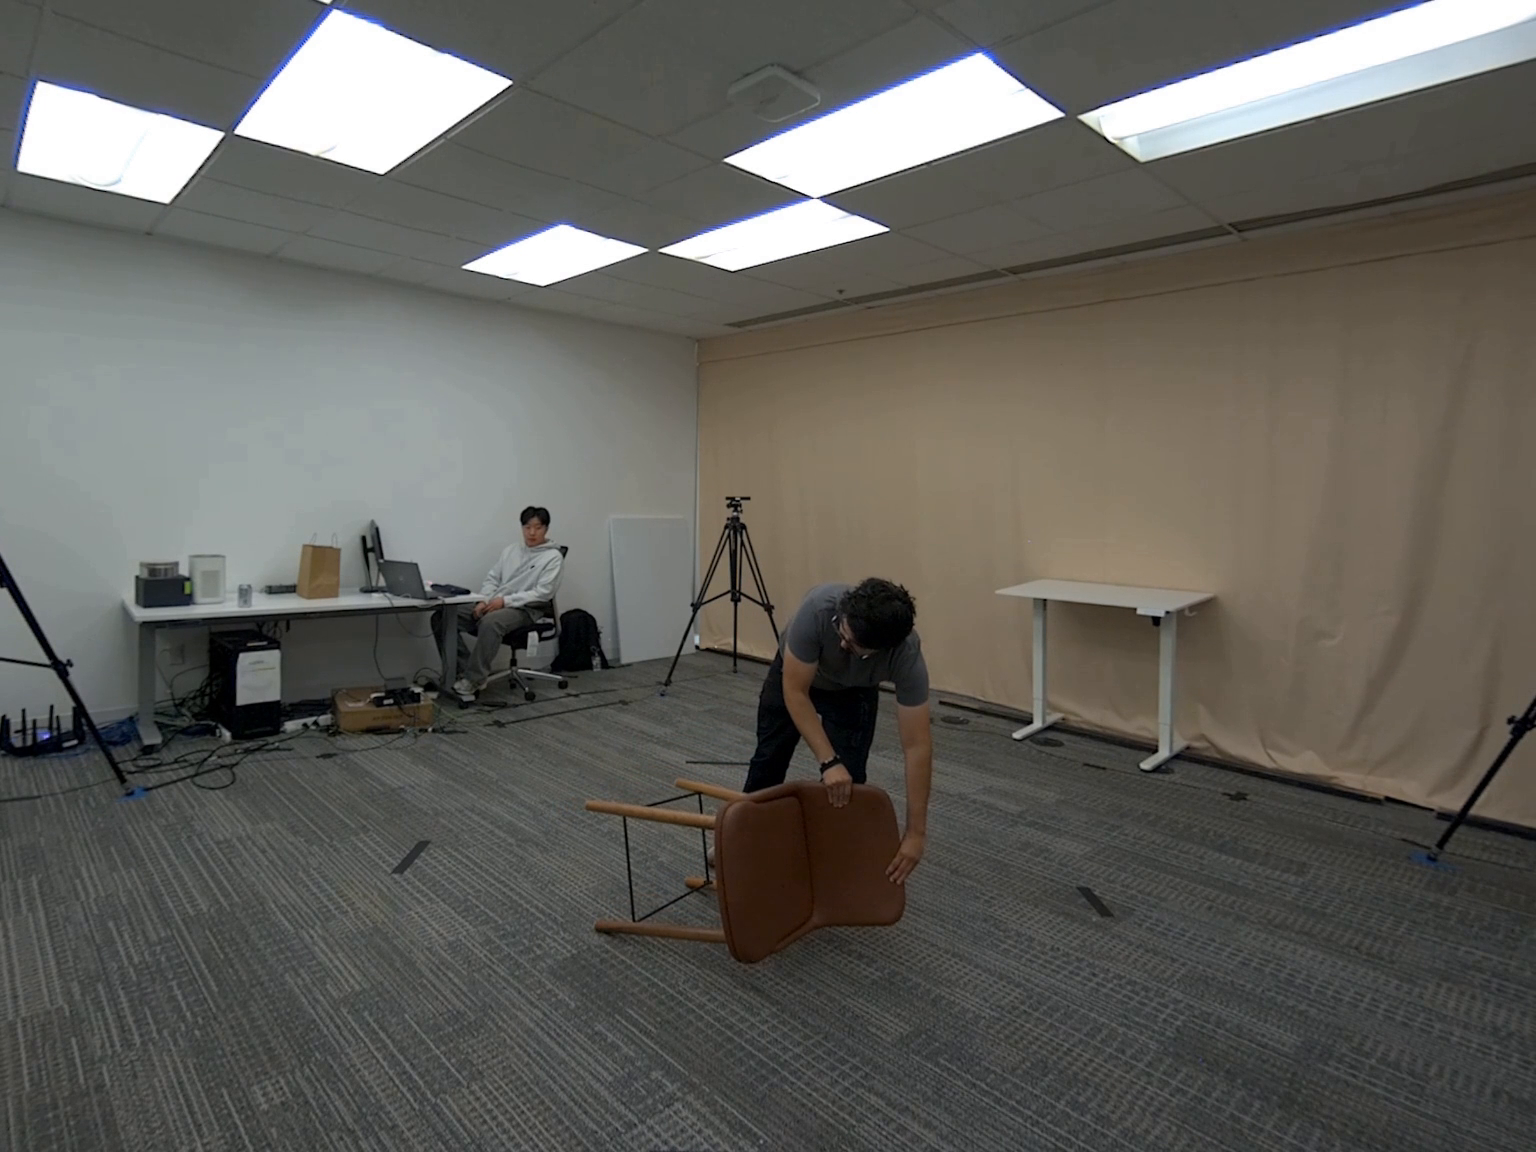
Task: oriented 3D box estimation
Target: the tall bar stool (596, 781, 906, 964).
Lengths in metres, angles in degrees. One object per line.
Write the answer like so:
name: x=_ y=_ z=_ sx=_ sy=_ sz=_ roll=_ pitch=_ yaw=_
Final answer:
tall bar stool: x=-0.095 y=0.882 z=2.605 sx=0.907 sy=0.458 sz=0.457 roll=-8 pitch=-5 yaw=37
